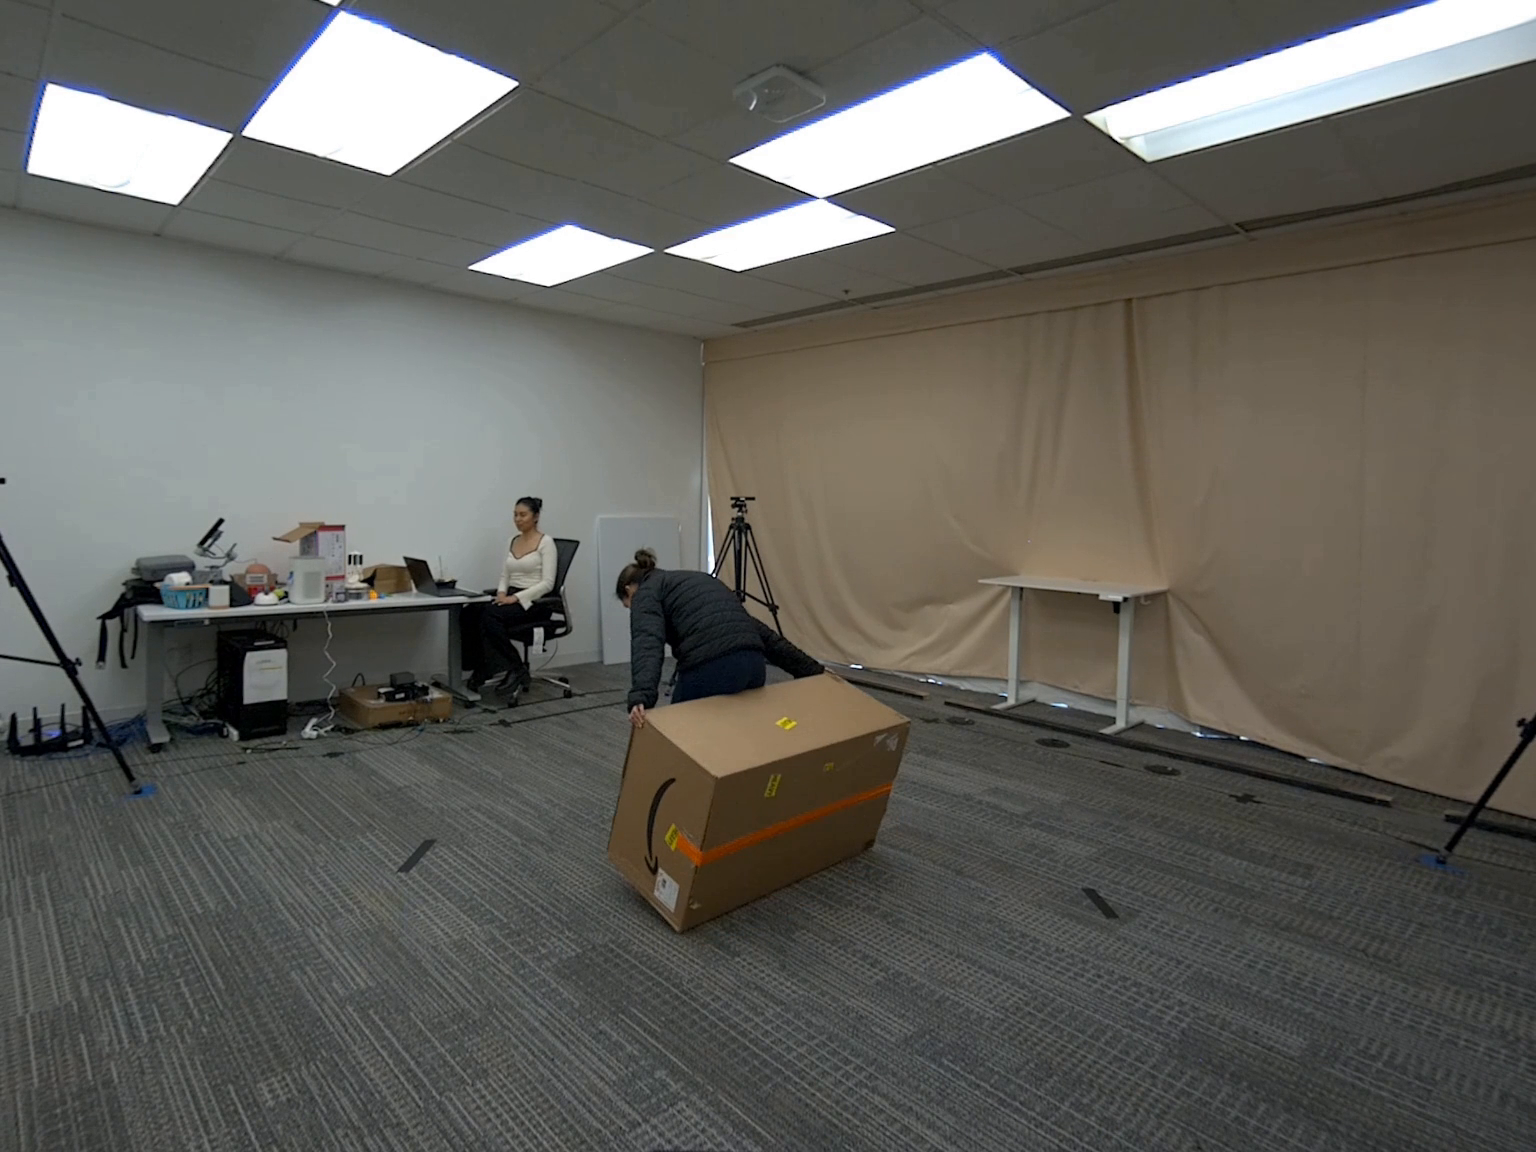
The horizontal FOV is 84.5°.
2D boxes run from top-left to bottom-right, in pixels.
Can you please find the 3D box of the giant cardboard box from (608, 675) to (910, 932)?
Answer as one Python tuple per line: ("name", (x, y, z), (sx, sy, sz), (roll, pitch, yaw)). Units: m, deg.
("giant cardboard box", (-0.007, 0.775, 3.062), (1.002, 0.573, 0.439), (-3, 23, -45))
